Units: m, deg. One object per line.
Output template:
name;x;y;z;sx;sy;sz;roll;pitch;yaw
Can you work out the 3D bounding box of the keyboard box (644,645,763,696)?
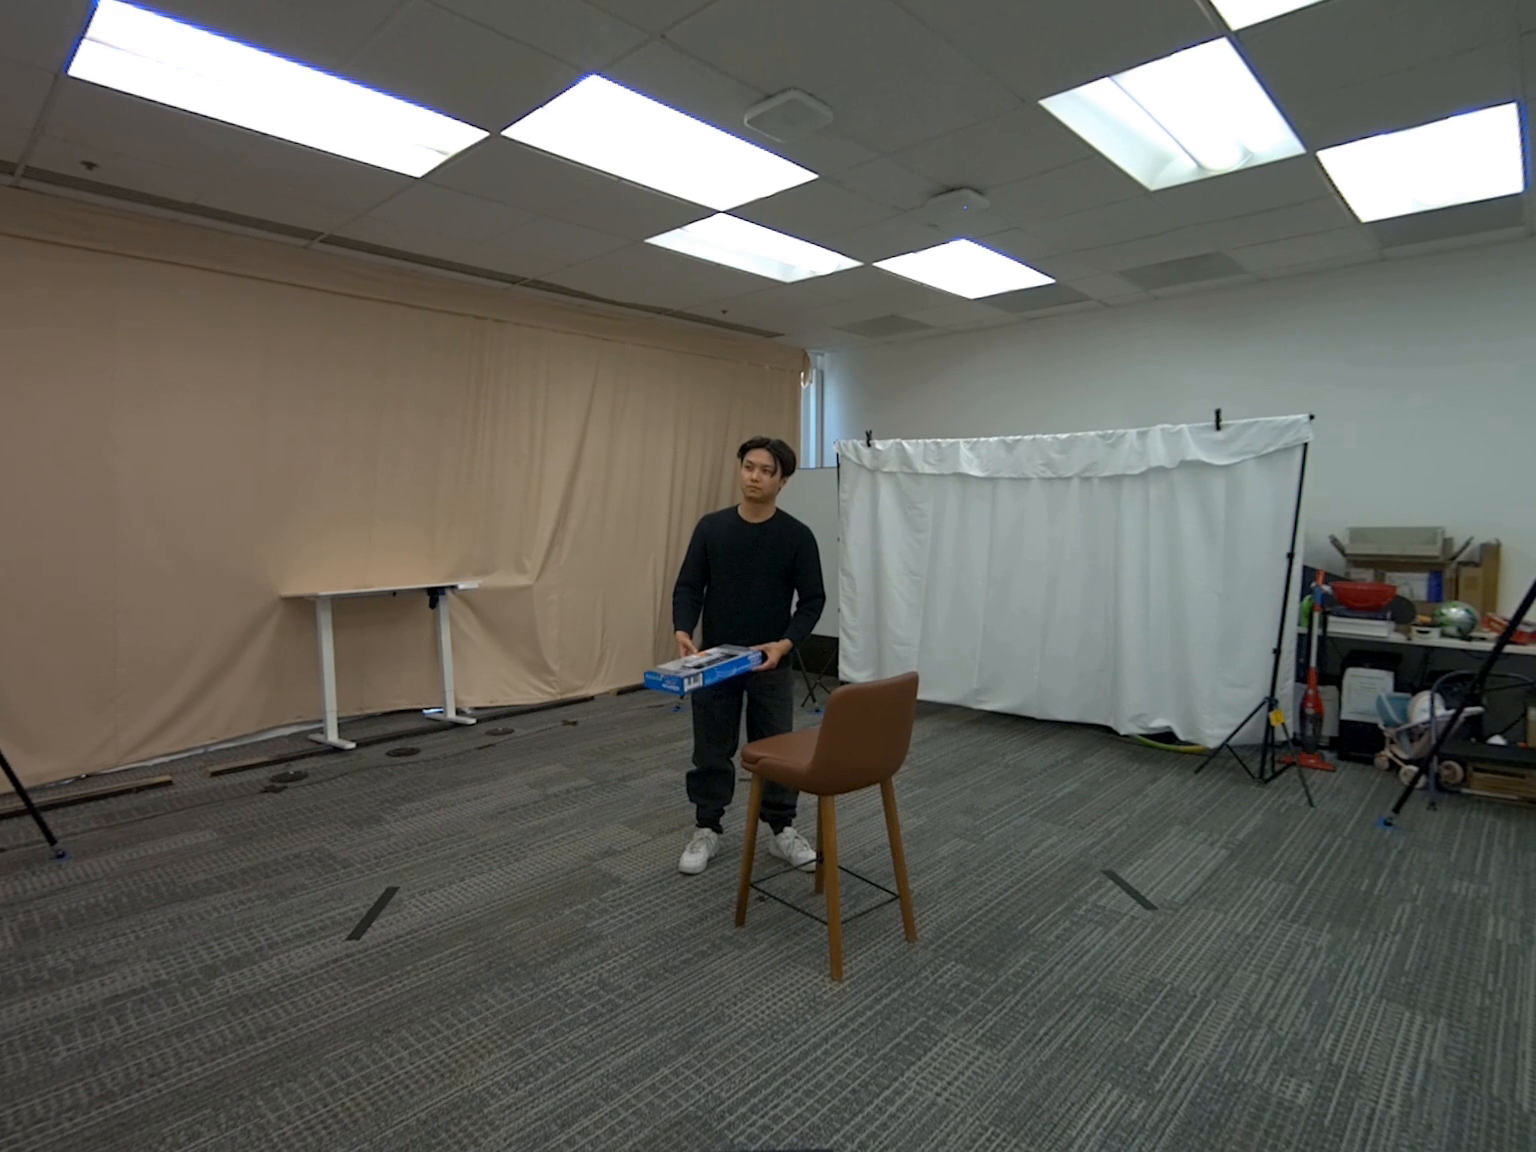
keyboard box;-0.218;0.317;2.916;0.182;0.059;0.425;4;11;38
